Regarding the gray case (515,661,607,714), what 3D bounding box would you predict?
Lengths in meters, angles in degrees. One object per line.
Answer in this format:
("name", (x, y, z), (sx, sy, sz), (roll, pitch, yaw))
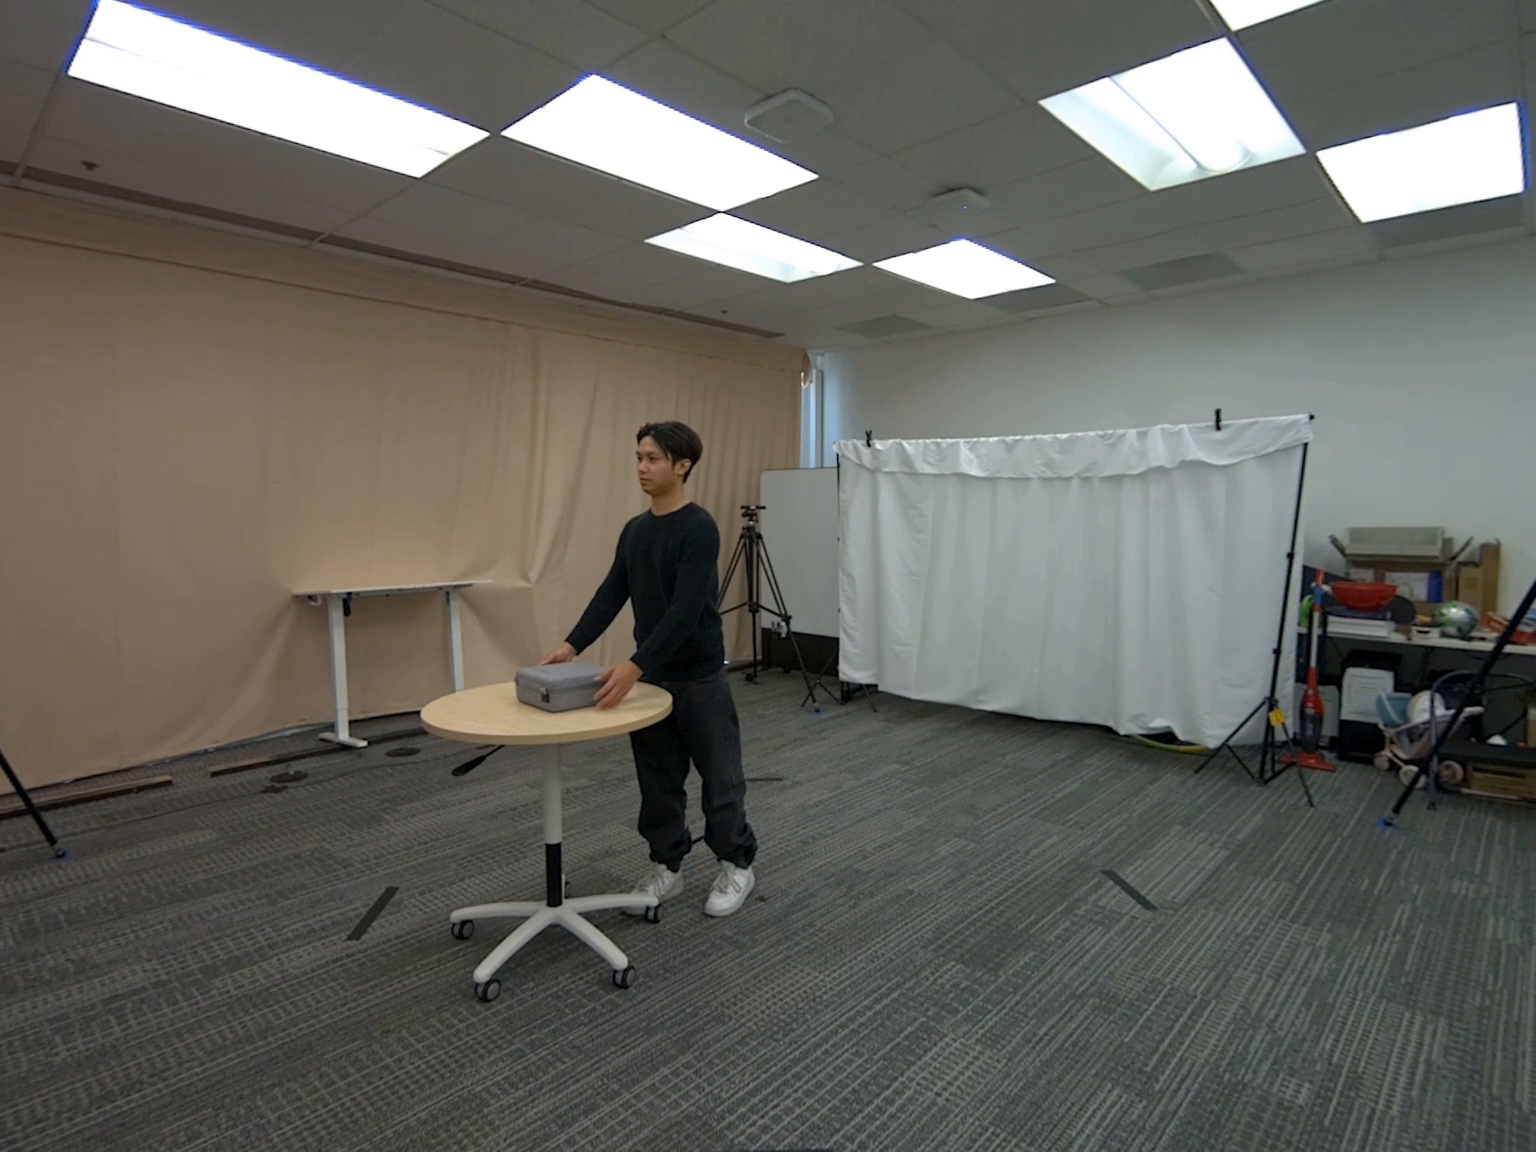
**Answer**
("gray case", (-0.623, 0.342, 2.635), (0.253, 0.104, 0.265), (-5, 3, -43))
